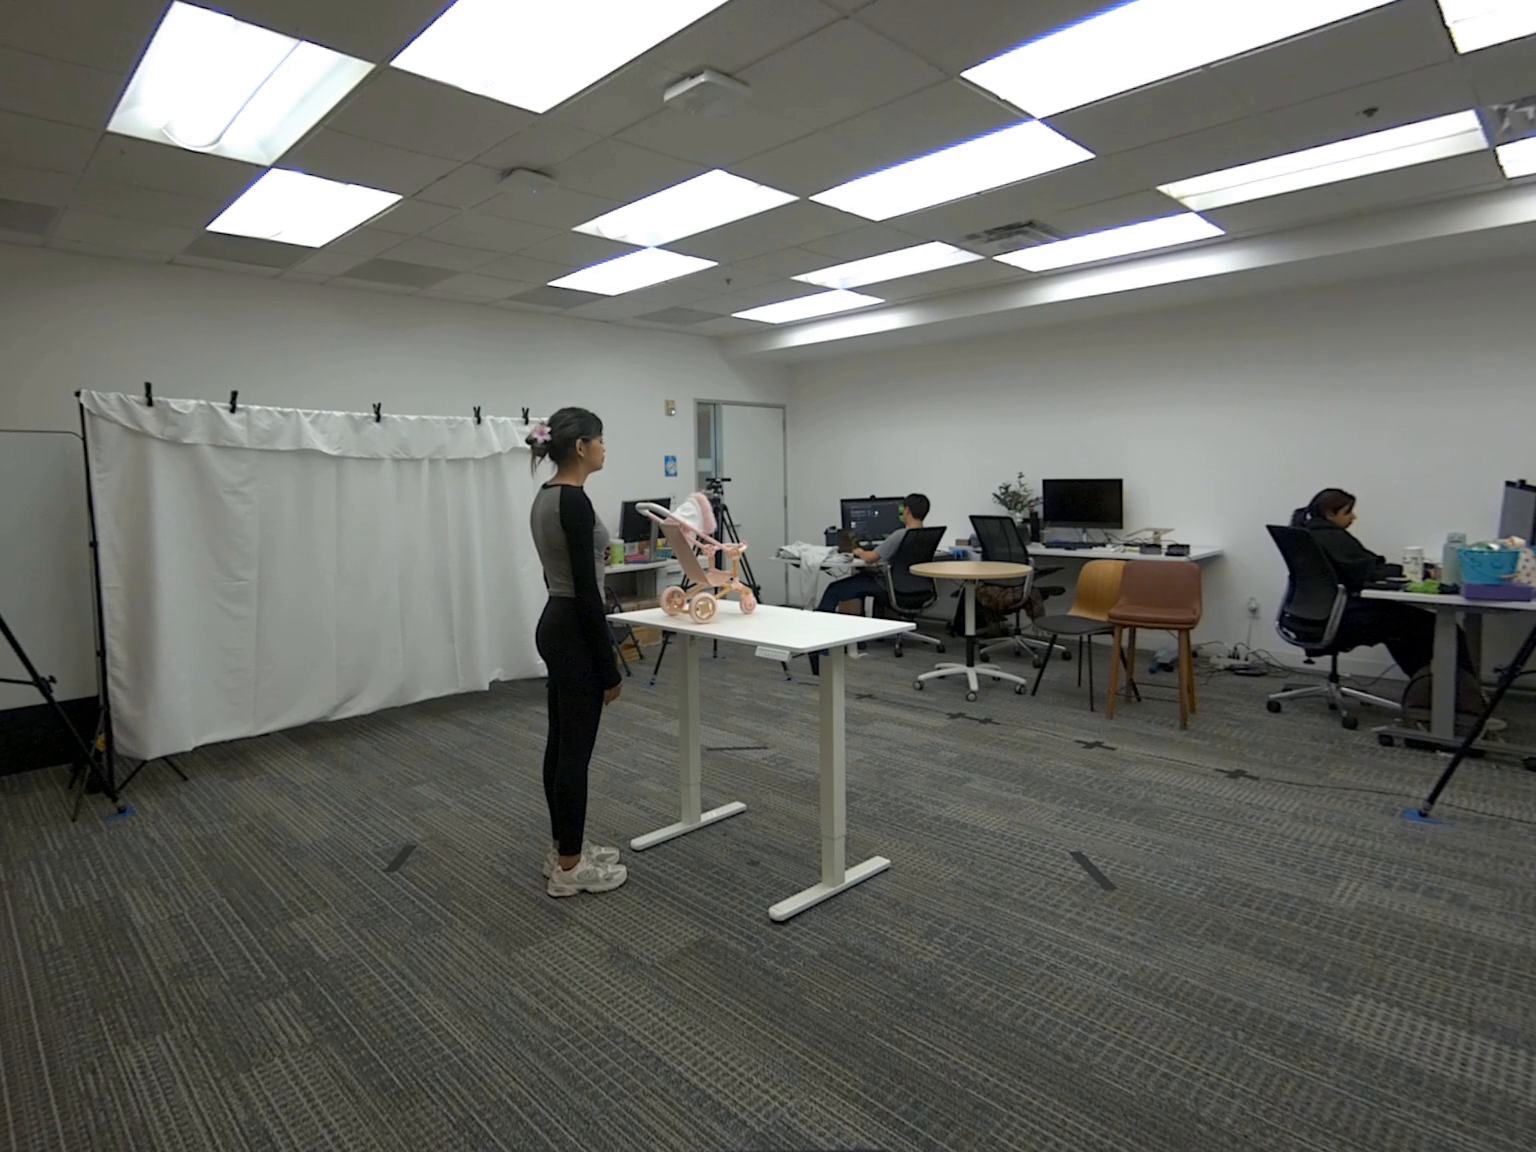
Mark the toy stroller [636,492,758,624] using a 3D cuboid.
[{"bbox_3d":[-0.242,-0.067,3.150,0.337,0.529,0.288,-20,11,-23],"label":"toy stroller"}]
